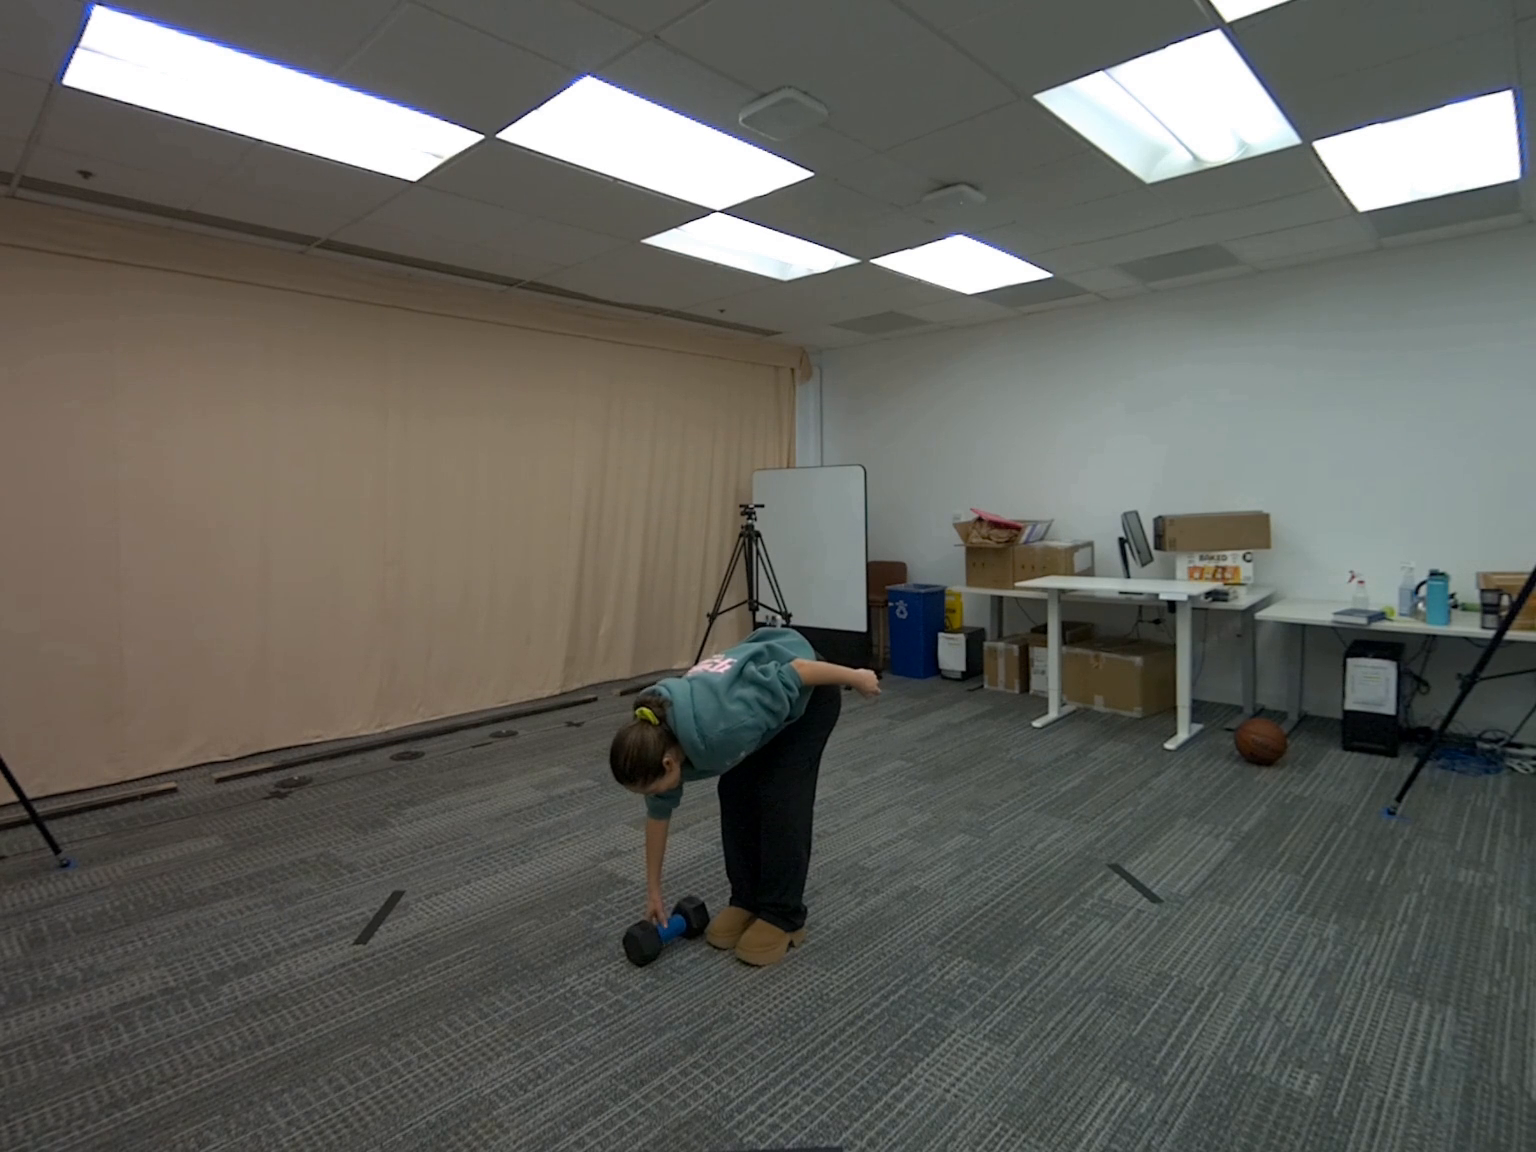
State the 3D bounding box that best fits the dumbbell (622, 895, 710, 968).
[{"bbox_3d":[-0.321,1.124,2.664,0.285,0.125,0.110,-7,-22,-49],"label":"dumbbell"}]
